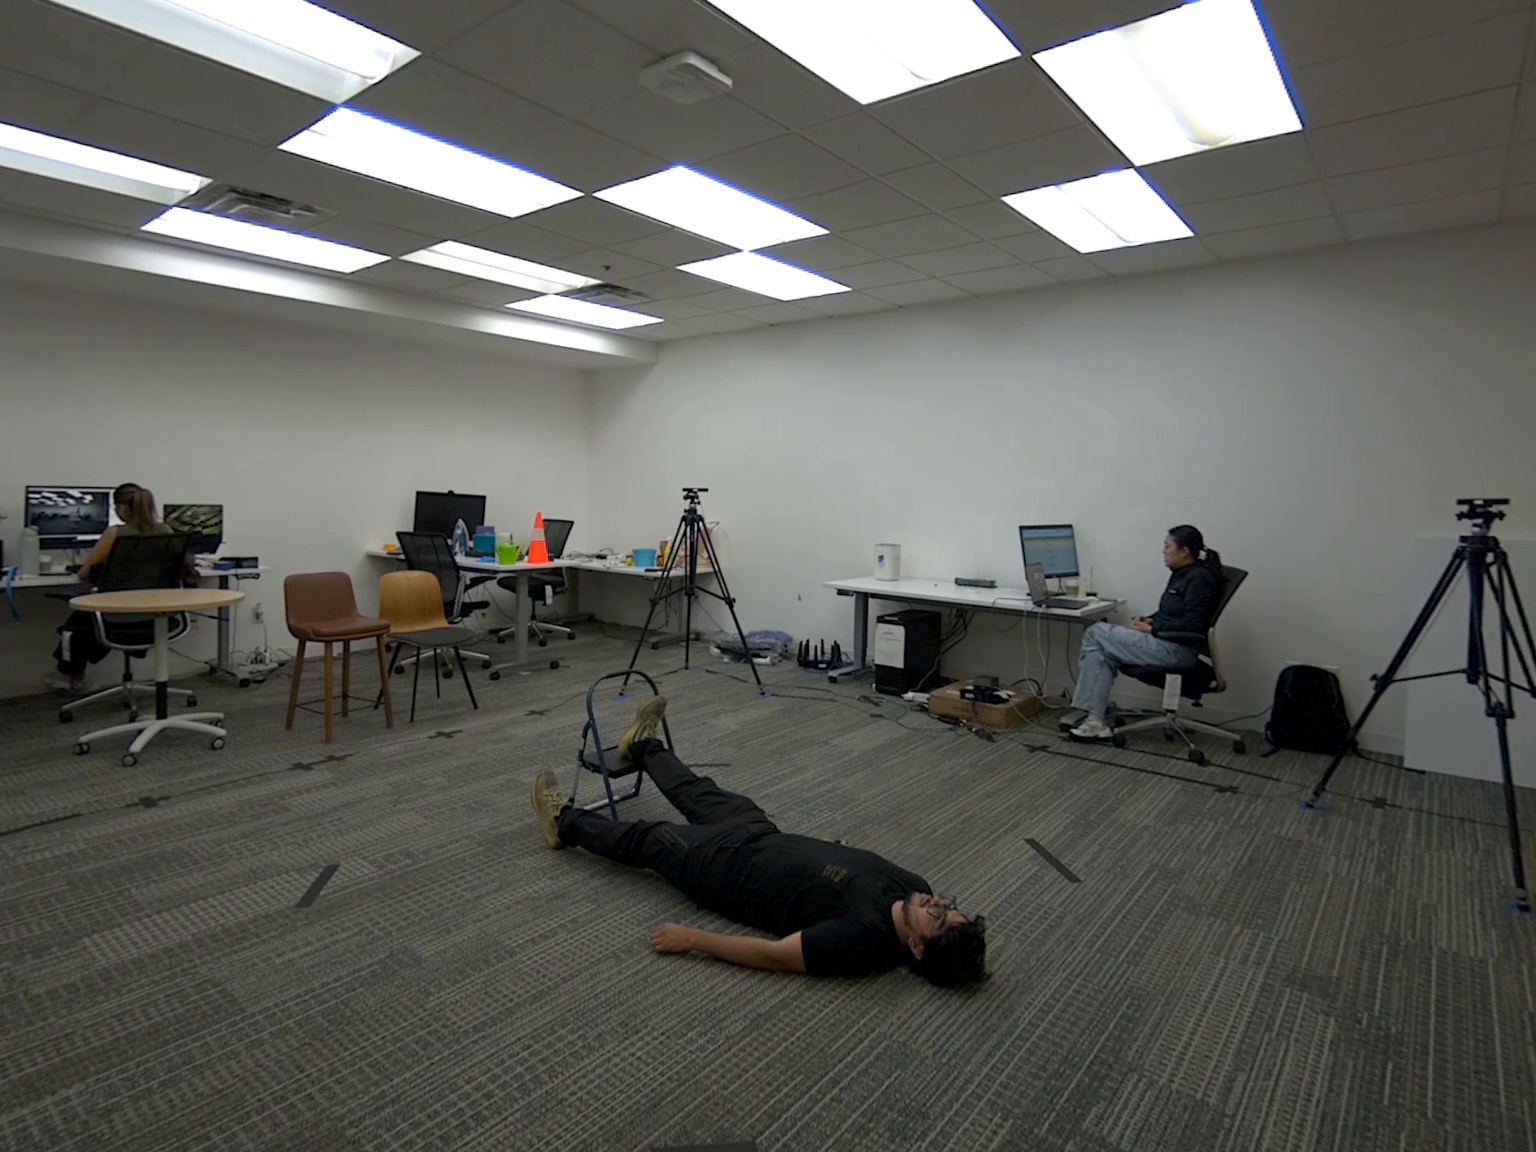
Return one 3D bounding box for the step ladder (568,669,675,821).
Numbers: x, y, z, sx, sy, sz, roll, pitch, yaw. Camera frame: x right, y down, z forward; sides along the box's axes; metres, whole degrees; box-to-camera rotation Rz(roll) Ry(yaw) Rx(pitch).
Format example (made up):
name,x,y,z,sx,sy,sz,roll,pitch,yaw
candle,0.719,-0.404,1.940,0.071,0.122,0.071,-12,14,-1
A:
name,x,y,z,sx,sy,sz,roll,pitch,yaw
step ladder,-0.598,0.713,3.601,0.361,0.605,0.418,3,3,38
